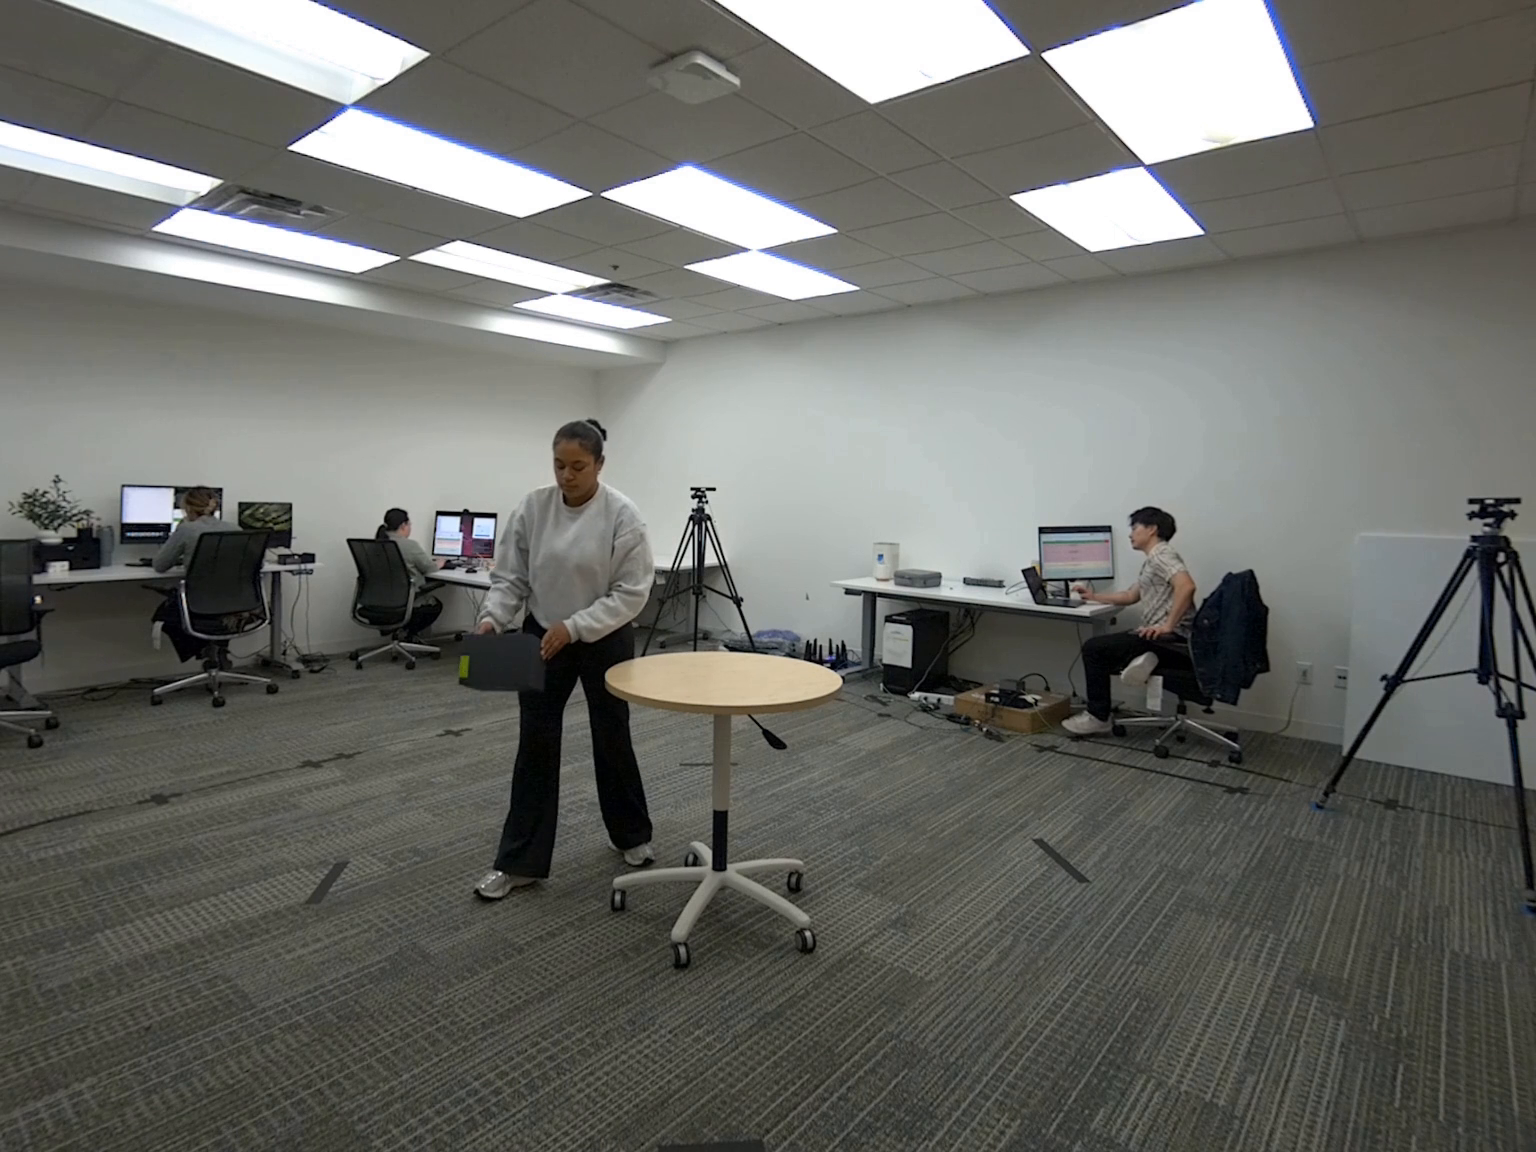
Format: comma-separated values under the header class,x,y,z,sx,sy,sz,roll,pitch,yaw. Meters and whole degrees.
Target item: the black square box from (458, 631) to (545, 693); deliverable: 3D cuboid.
class,x,y,z,sx,sy,sz,roll,pitch,yaw
black square box,-0.848,0.269,2.678,0.216,0.157,0.227,4,-9,-6
